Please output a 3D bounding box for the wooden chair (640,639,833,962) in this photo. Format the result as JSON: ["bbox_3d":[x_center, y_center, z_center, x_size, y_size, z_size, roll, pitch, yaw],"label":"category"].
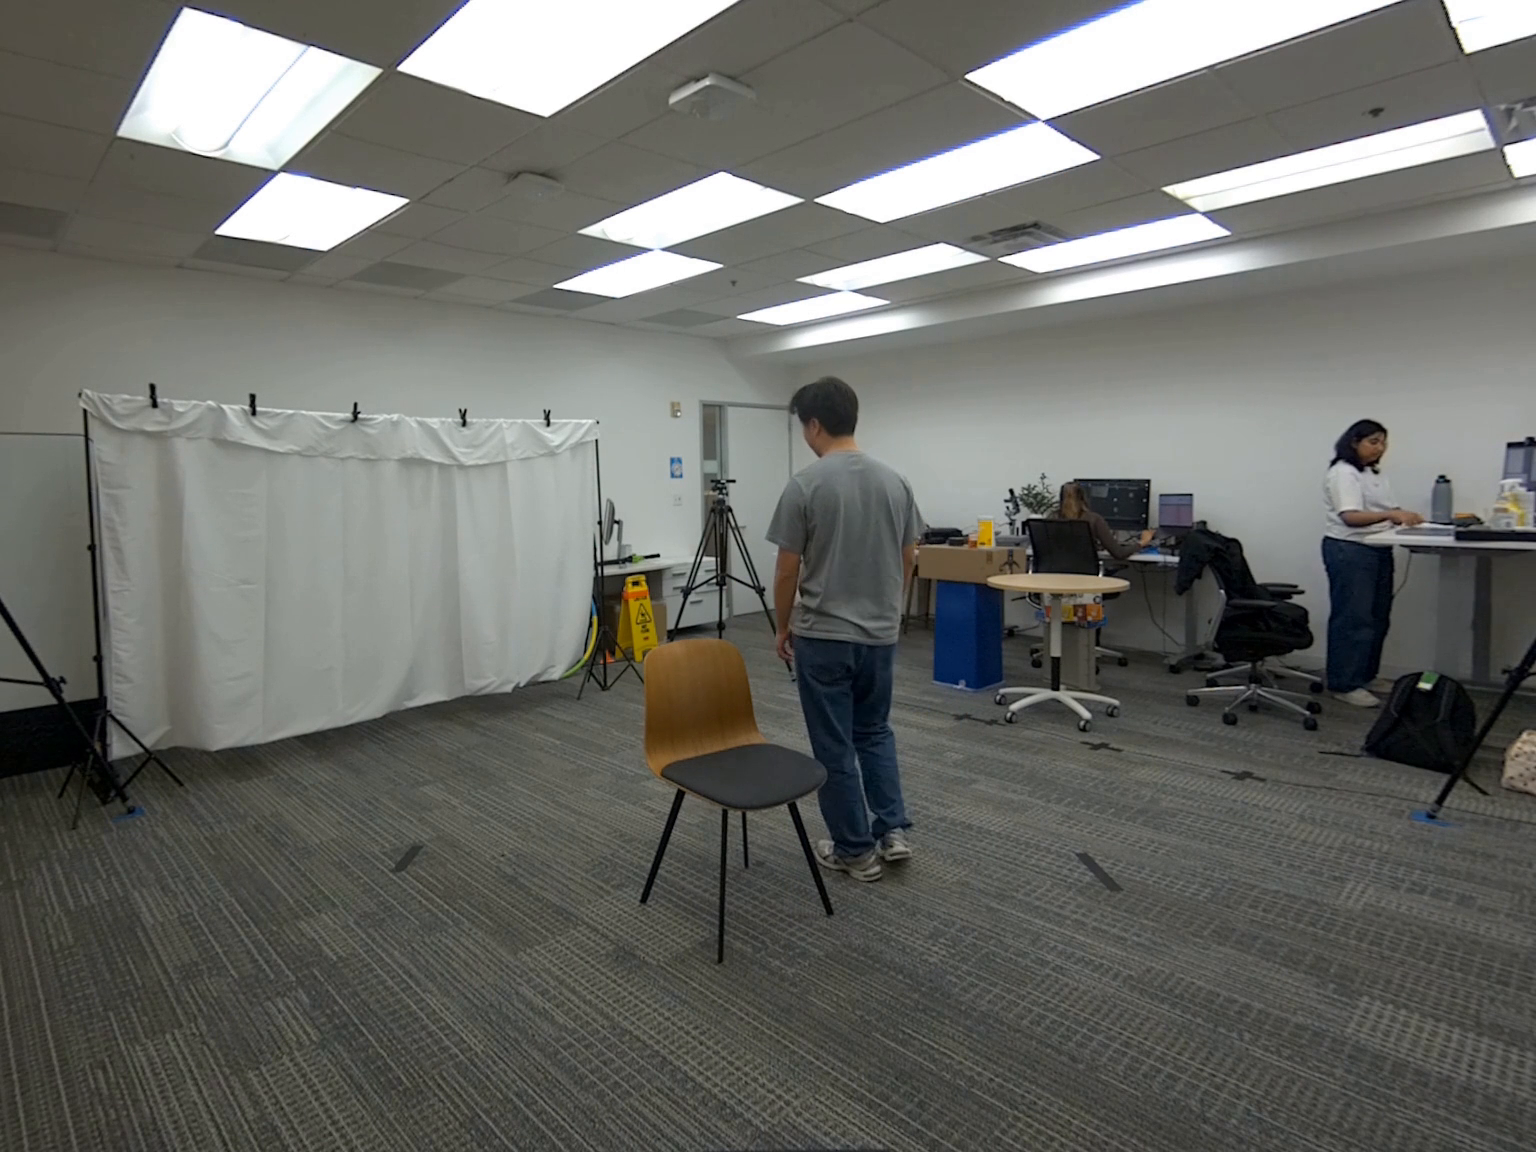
[{"bbox_3d":[-0.109,0.663,2.739,0.466,0.877,0.537,-4,1,-37],"label":"wooden chair"}]
